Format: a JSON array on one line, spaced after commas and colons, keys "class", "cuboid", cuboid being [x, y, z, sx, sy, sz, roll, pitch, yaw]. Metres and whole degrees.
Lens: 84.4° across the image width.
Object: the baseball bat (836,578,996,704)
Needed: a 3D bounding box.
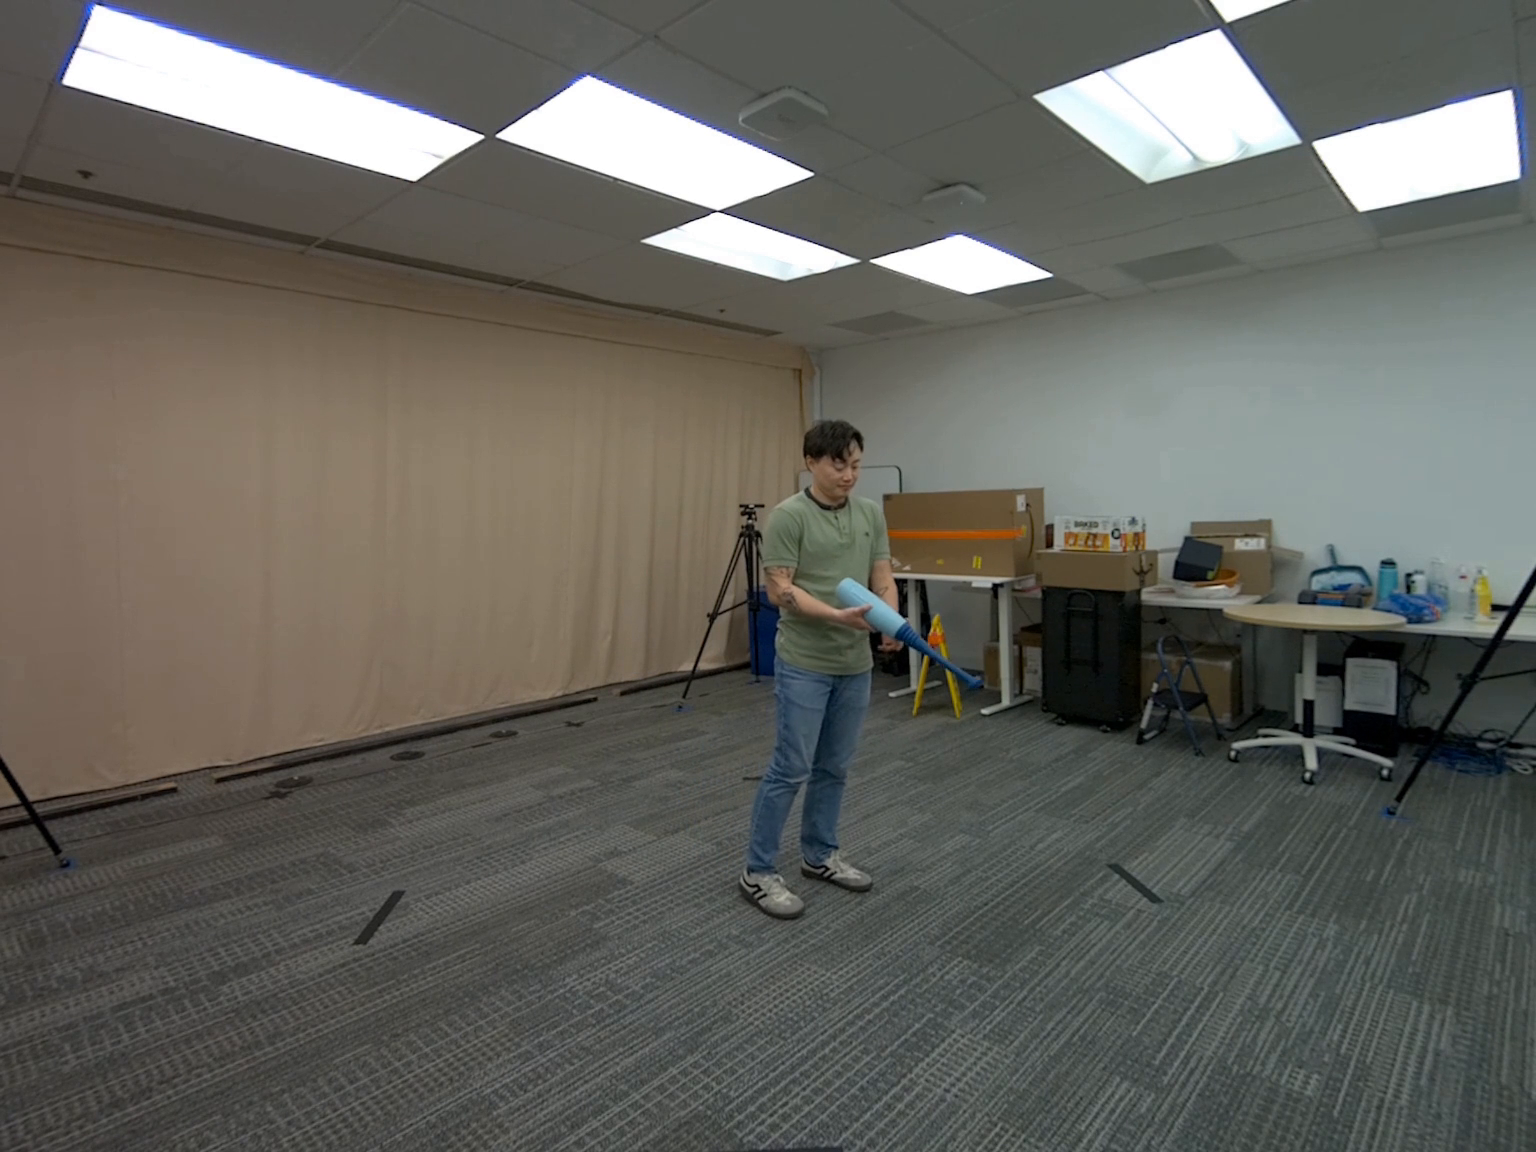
[{"class": "baseball bat", "cuboid": [0.451, 0.190, 2.690, 0.559, 0.089, 0.086, 37, 22, 25]}]
